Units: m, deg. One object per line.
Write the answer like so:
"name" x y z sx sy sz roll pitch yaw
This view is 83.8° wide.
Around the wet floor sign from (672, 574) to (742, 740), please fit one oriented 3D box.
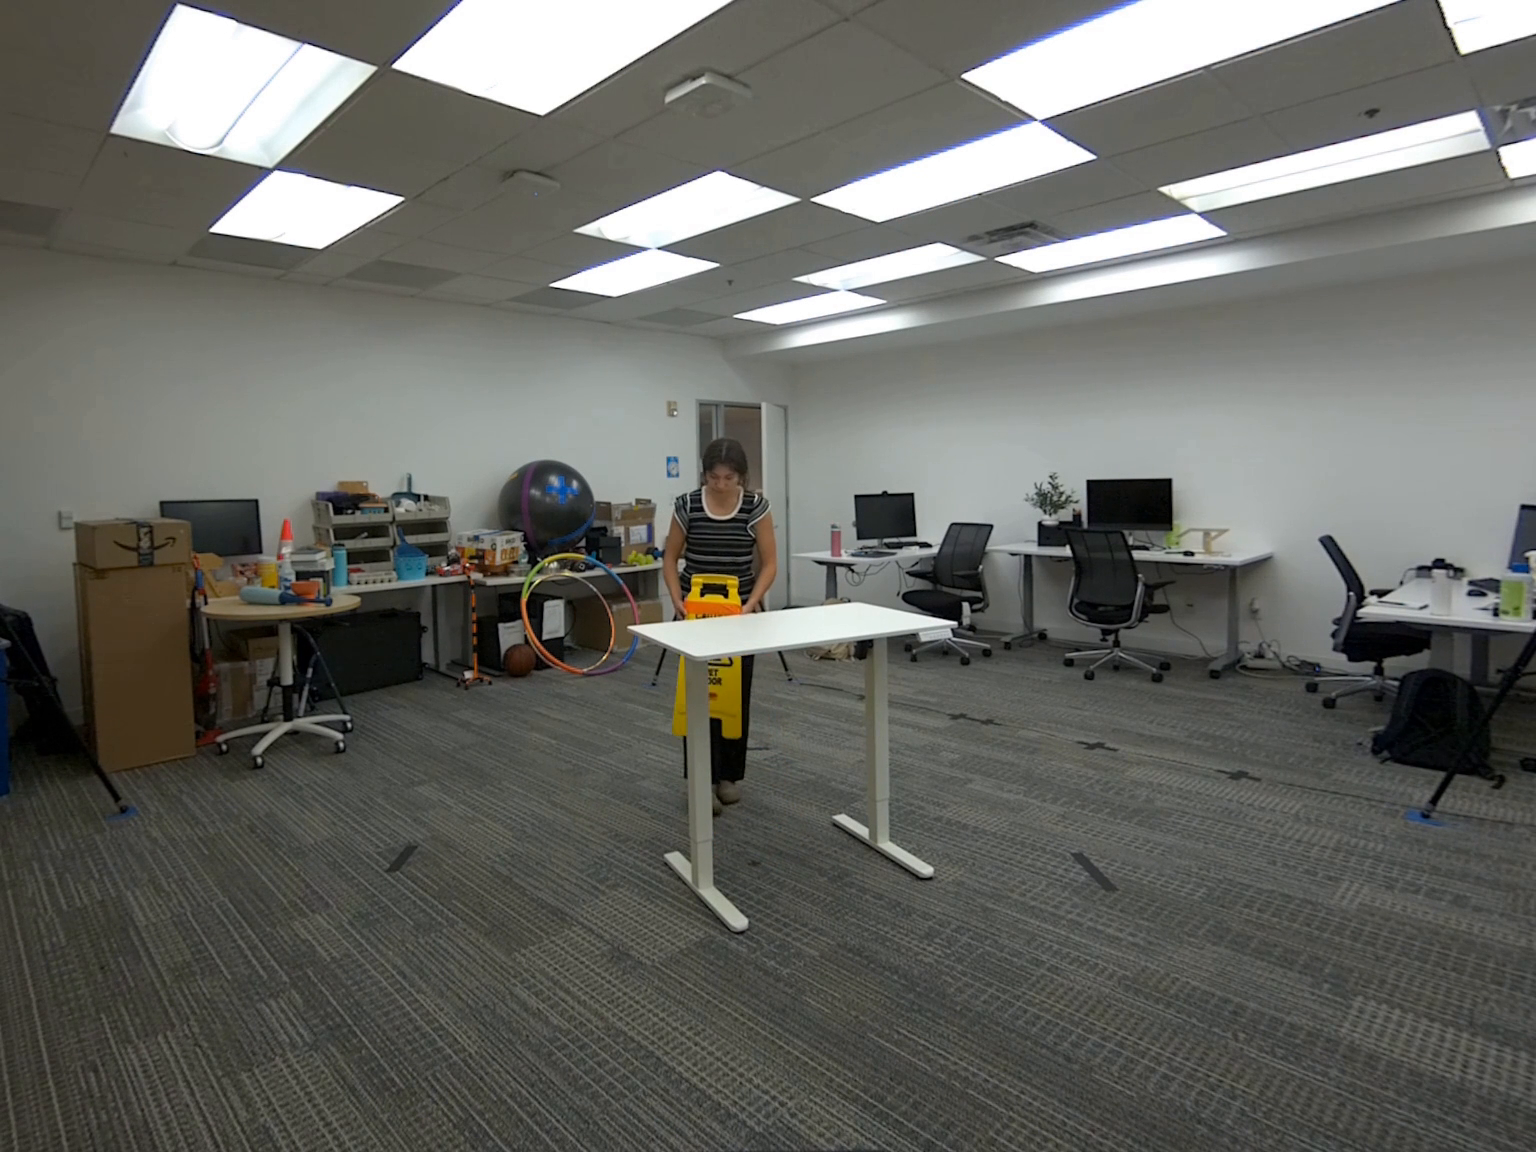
"wet floor sign" -0.233 0.330 3.565 0.282 0.648 0.289 2 -2 -1
